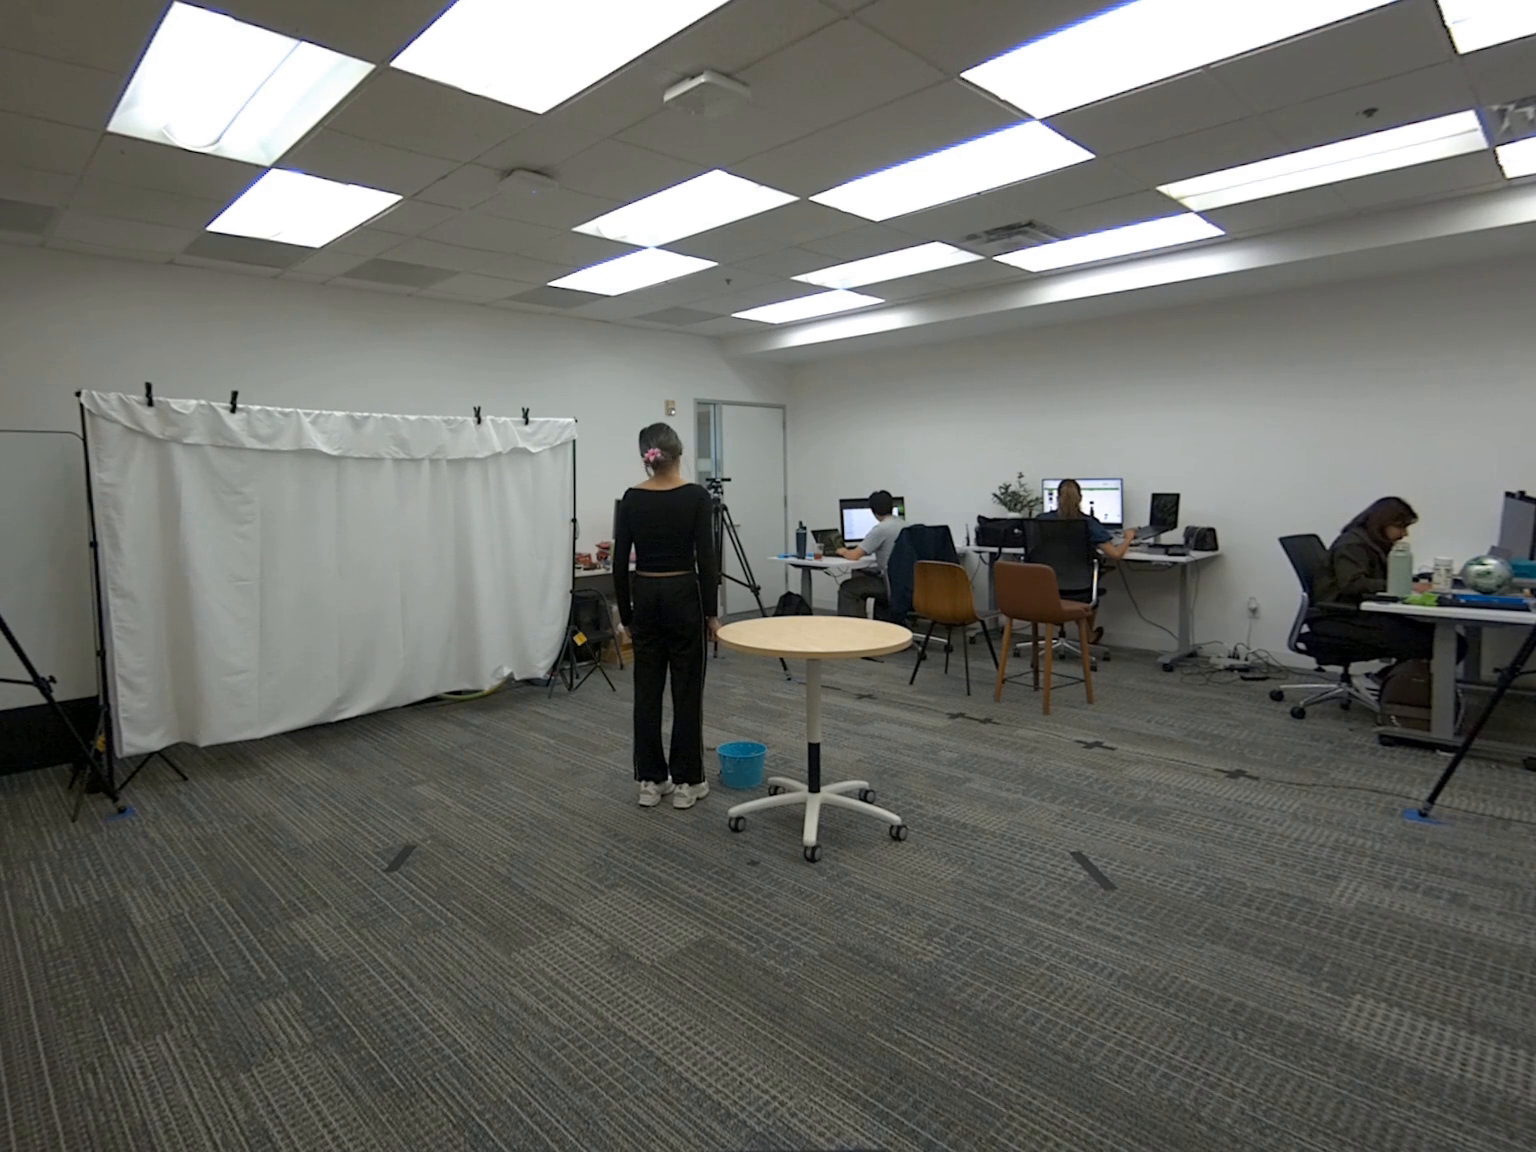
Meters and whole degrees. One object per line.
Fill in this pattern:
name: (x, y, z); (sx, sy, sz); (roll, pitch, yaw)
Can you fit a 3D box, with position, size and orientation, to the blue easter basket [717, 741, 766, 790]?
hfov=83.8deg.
blue easter basket: (-0.120, 0.871, 3.950); (0.243, 0.155, 0.245); (-1, 5, -2)
